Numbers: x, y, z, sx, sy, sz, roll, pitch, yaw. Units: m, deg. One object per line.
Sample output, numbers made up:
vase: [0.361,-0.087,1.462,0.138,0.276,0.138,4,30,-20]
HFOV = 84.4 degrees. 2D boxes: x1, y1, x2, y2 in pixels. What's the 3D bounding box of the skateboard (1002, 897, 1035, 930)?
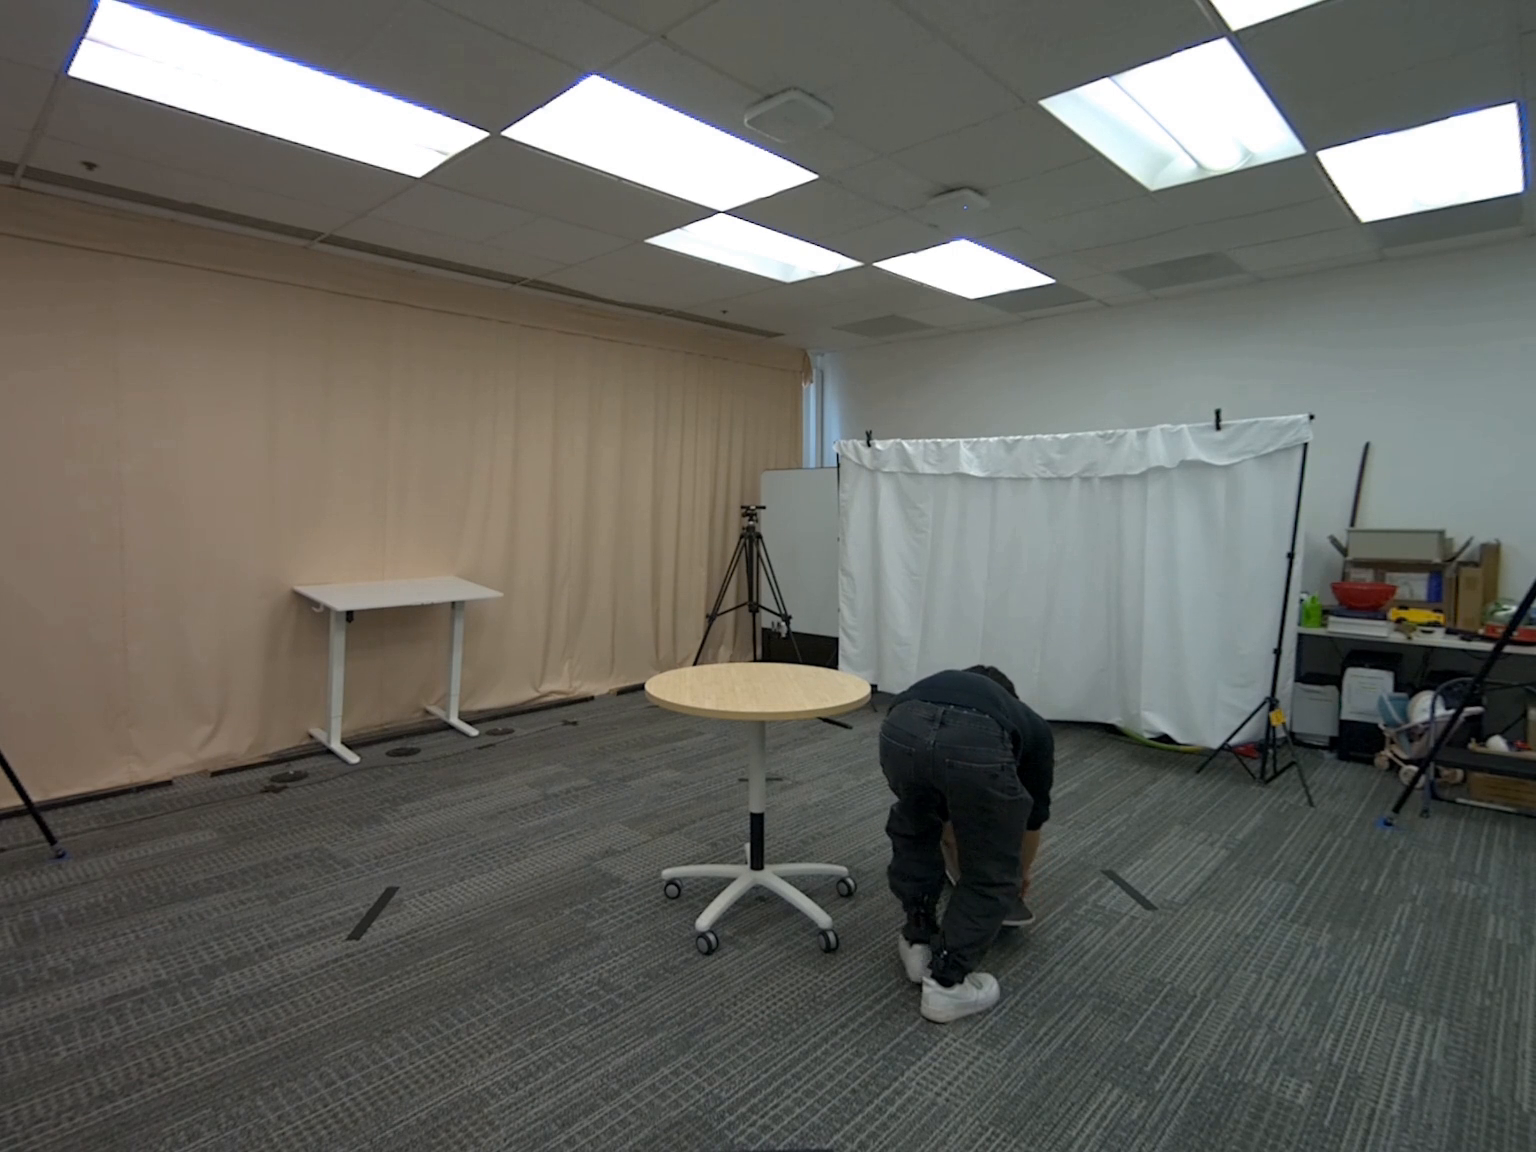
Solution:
skateboard: [0.745,1.086,2.986,0.193,0.110,0.788,0,5,-3]
